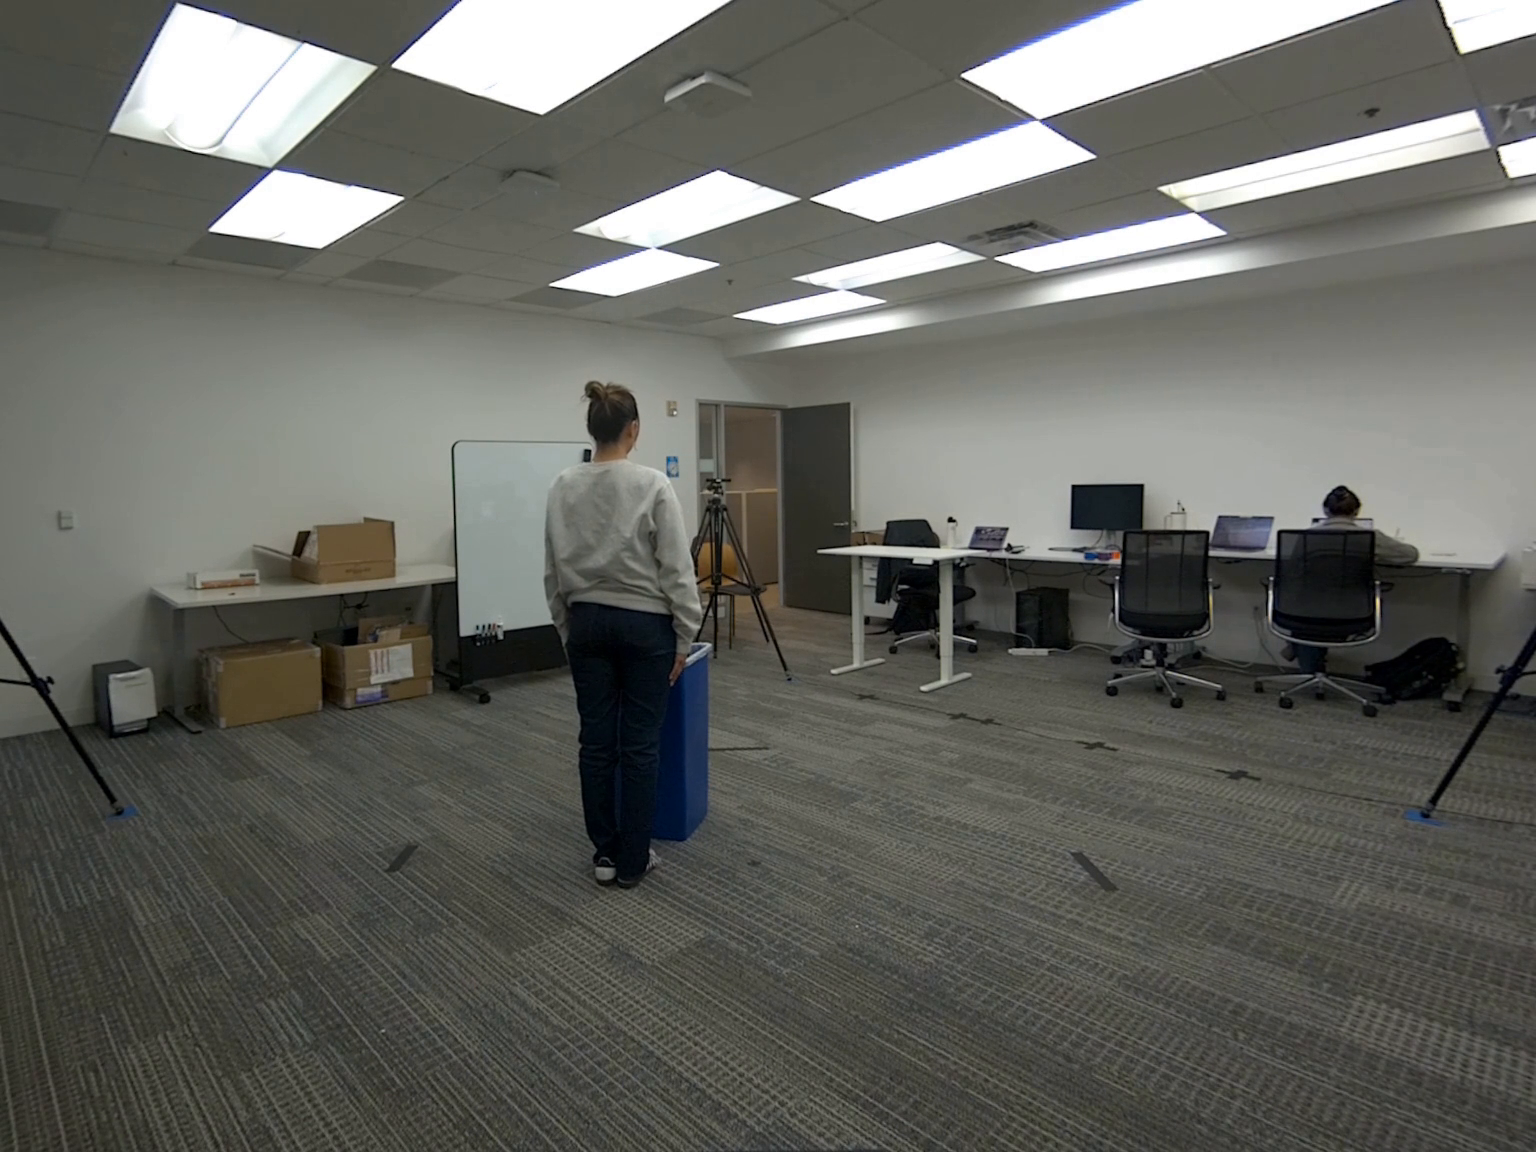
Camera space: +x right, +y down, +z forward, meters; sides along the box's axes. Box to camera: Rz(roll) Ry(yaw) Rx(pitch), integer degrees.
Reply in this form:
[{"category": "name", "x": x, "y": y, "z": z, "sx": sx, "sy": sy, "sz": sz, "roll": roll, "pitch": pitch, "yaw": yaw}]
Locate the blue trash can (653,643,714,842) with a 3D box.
[{"category": "blue trash can", "x": -0.434, "y": 0.655, "z": 3.450, "sx": 0.384, "sy": 0.711, "sz": 0.369, "roll": 0, "pitch": 4, "yaw": 15}]
